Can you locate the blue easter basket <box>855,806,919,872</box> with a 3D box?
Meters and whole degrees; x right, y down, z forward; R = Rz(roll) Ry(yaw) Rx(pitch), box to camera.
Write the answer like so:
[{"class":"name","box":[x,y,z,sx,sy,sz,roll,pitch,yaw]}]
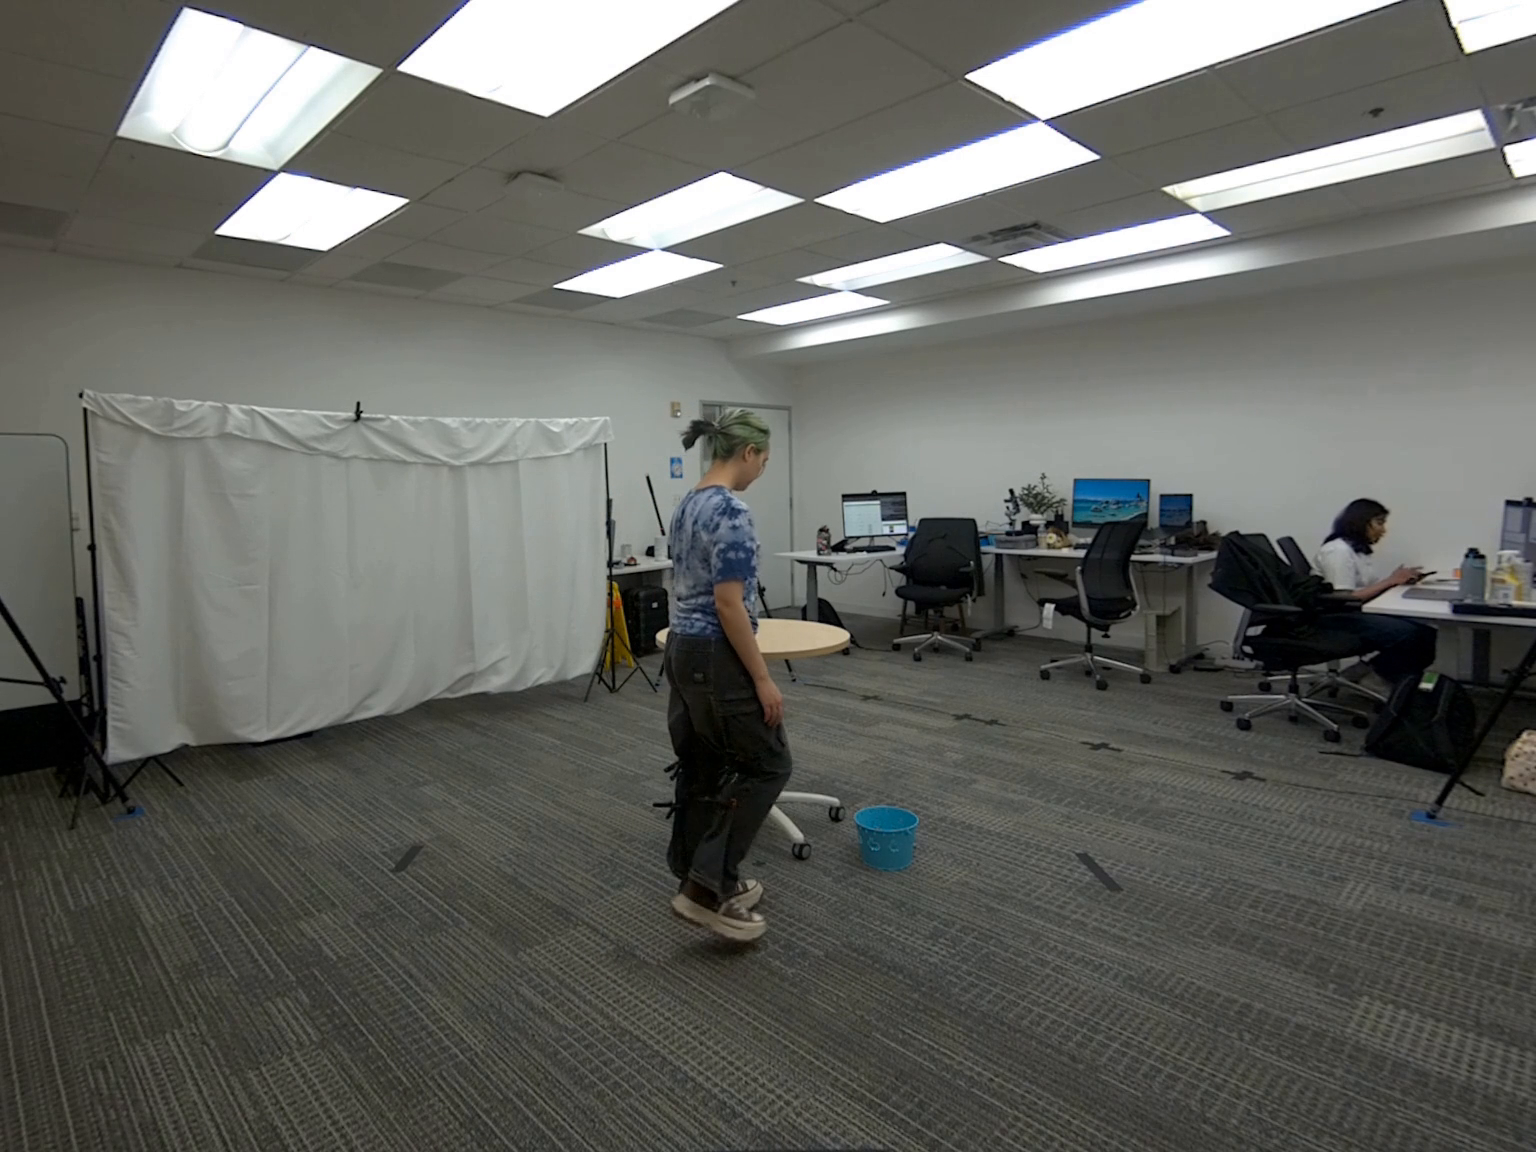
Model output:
[{"class":"blue easter basket","box":[0.443,0.959,3.120,0.243,0.155,0.245,-2,5,-2]}]
